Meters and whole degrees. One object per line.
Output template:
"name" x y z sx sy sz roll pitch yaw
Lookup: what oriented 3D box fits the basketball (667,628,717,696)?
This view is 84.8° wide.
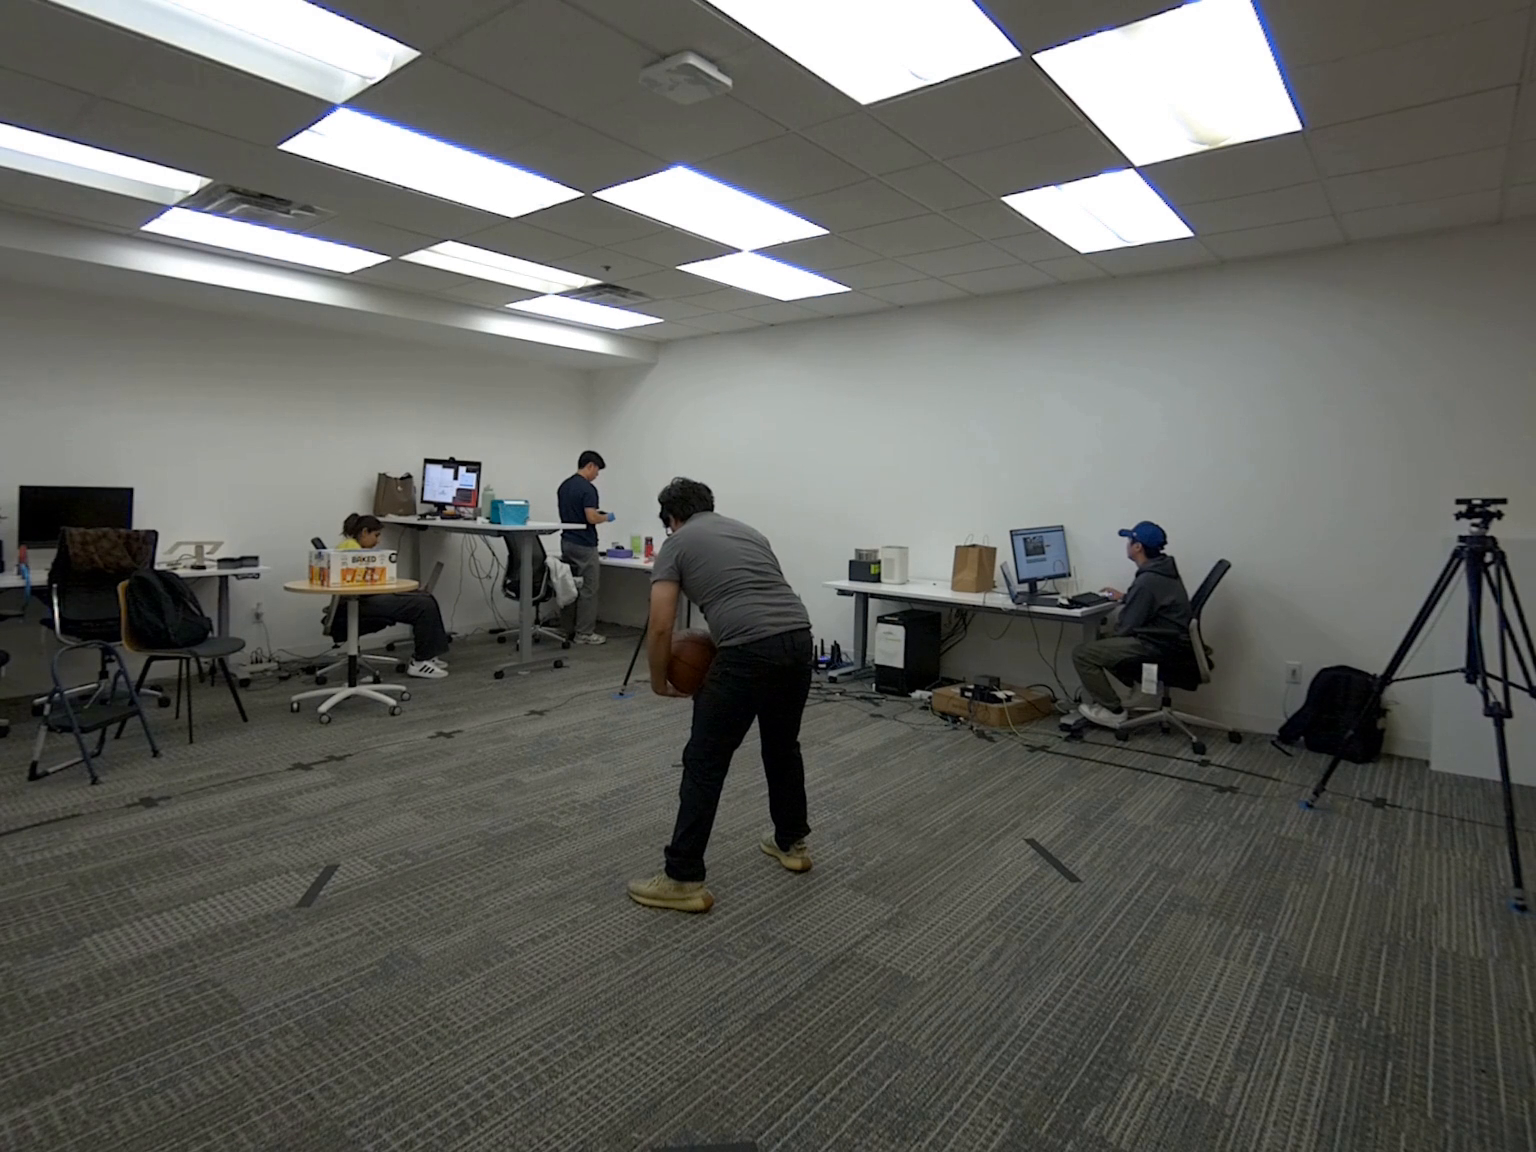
"basketball" -0.284 0.313 3.140 0.235 0.235 0.237 1 4 -2
